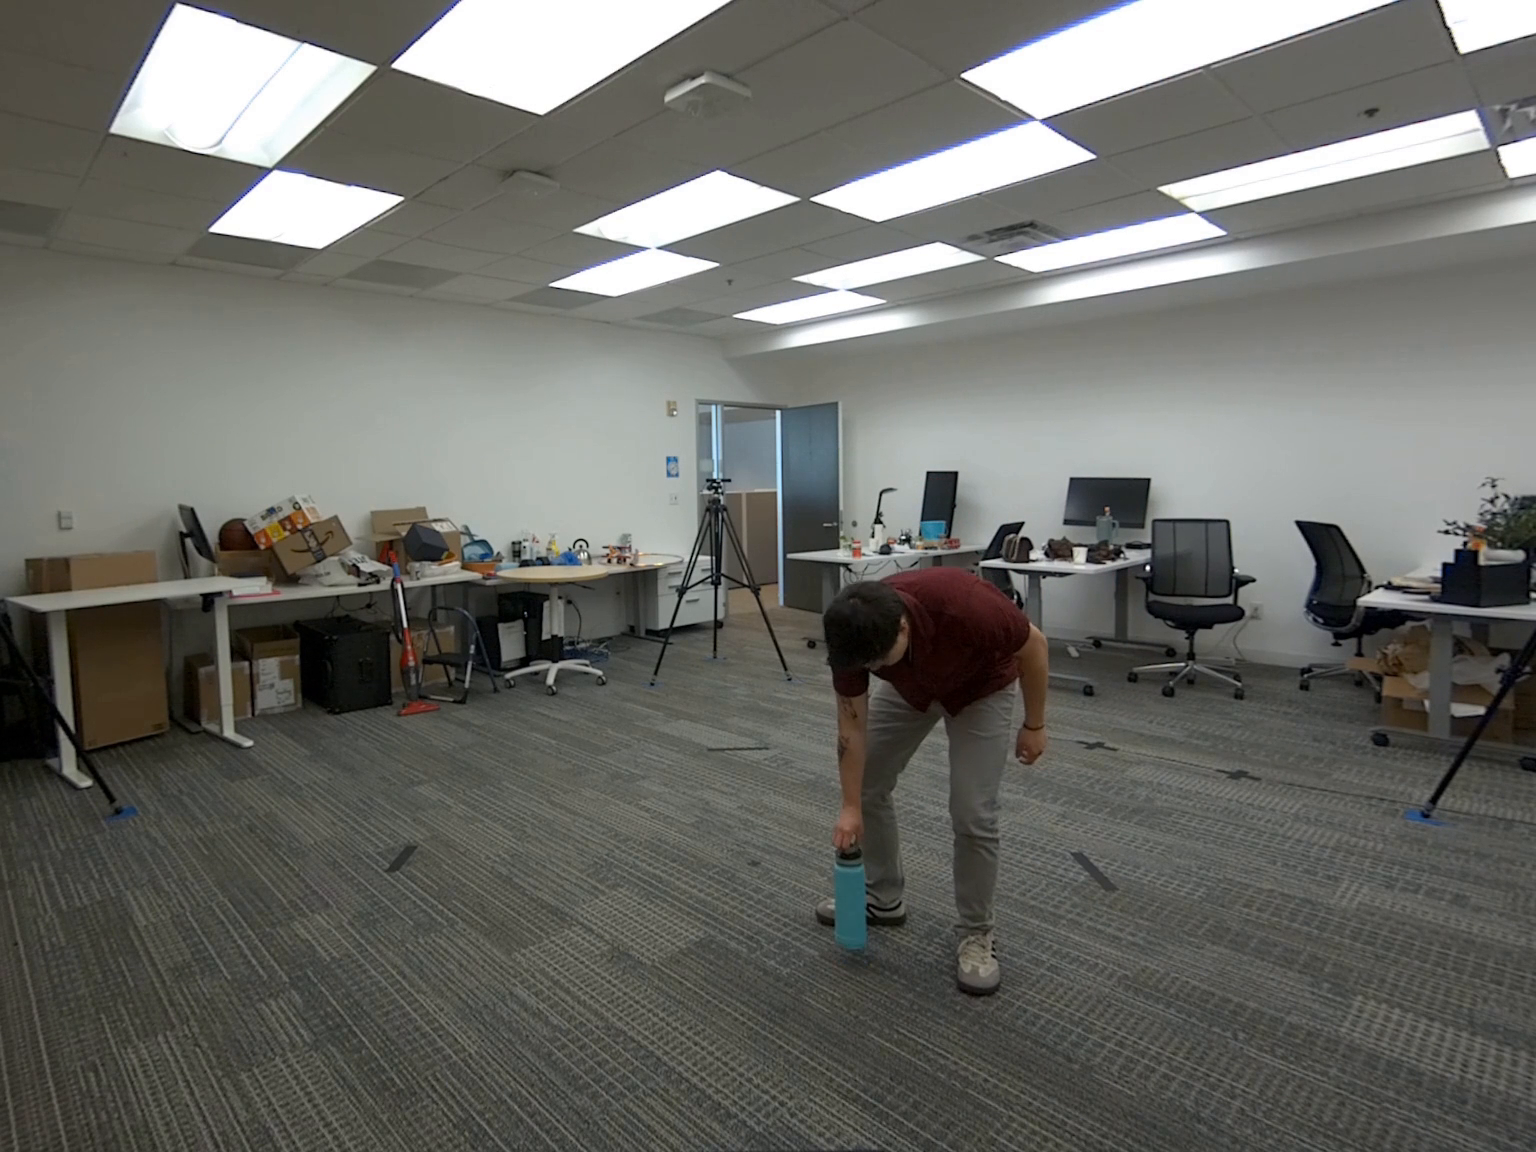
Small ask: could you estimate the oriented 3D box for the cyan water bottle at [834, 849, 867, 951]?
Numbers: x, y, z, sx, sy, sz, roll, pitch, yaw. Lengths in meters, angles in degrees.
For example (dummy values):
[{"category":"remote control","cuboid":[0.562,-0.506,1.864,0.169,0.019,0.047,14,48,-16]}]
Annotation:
[{"category":"cyan water bottle","cuboid":[0.245,0.917,2.470,0.092,0.283,0.092,-2,-1,-2]}]
